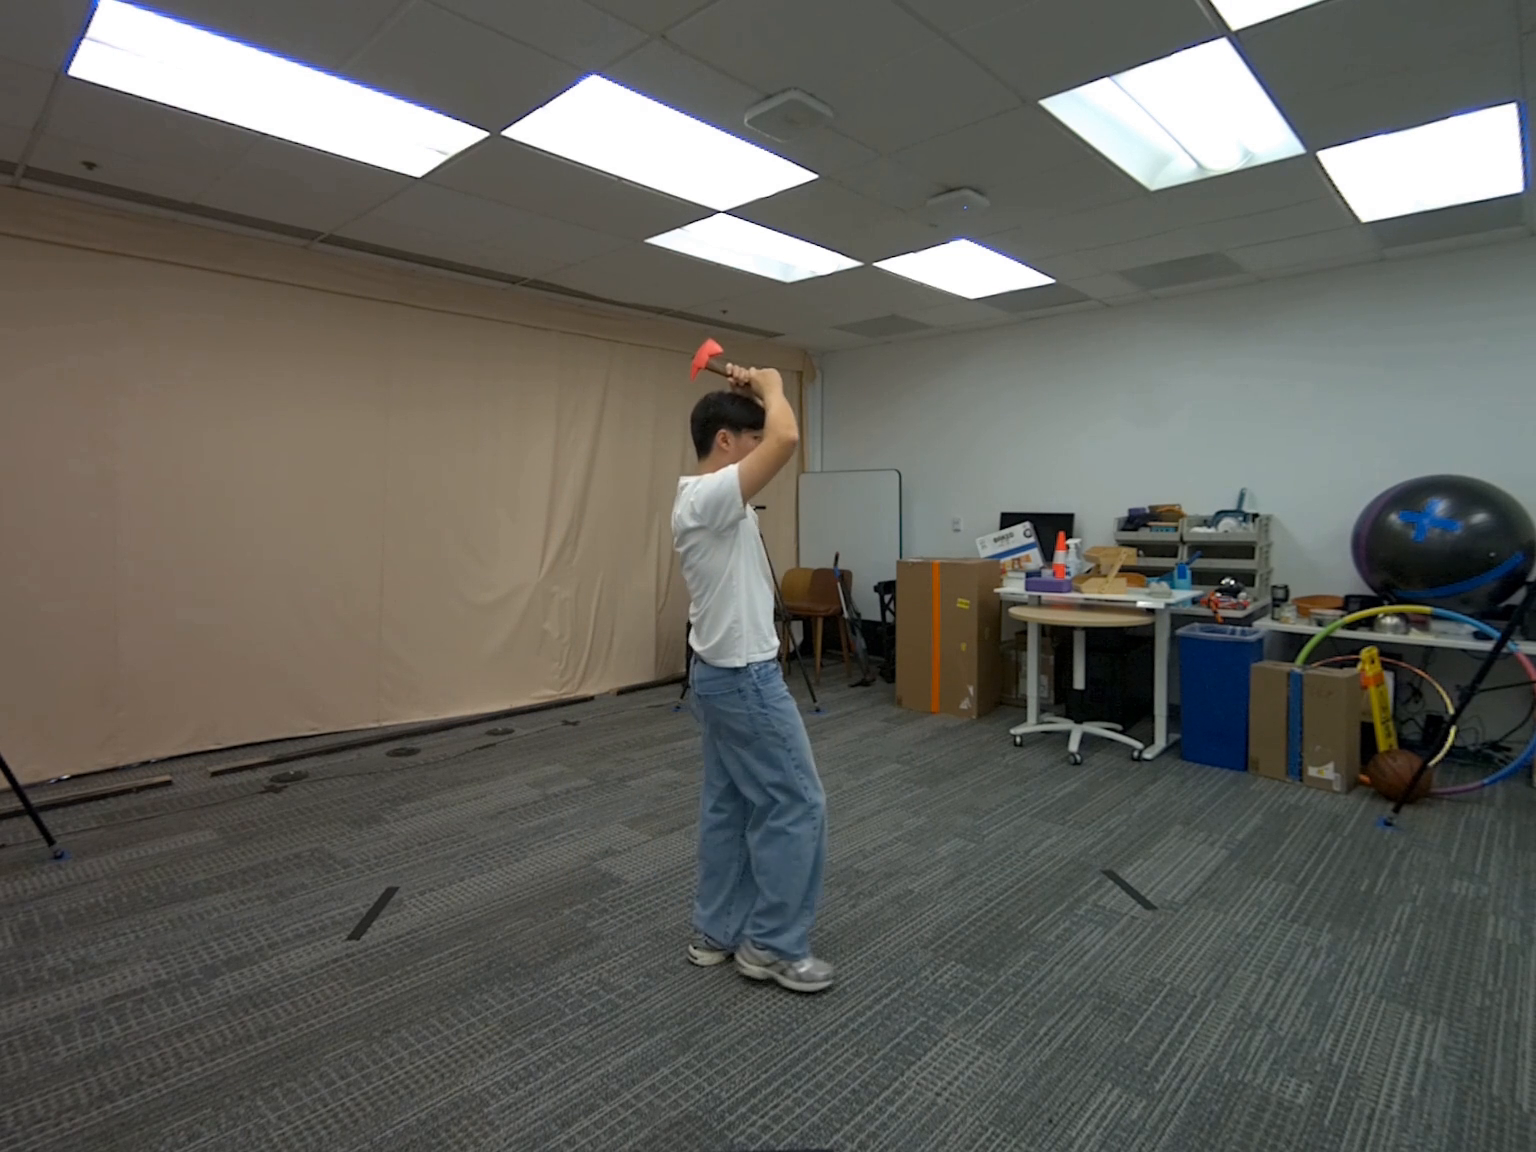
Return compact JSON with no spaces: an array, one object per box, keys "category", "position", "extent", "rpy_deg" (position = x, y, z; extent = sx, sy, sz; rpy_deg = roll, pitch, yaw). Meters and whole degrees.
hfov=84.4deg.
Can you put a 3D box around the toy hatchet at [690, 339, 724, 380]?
[{"category":"toy hatchet","position":[-0.093,-0.645,2.531],"extent":[0.274,0.131,0.029],"rpy_deg":[6,-1,13]}]
